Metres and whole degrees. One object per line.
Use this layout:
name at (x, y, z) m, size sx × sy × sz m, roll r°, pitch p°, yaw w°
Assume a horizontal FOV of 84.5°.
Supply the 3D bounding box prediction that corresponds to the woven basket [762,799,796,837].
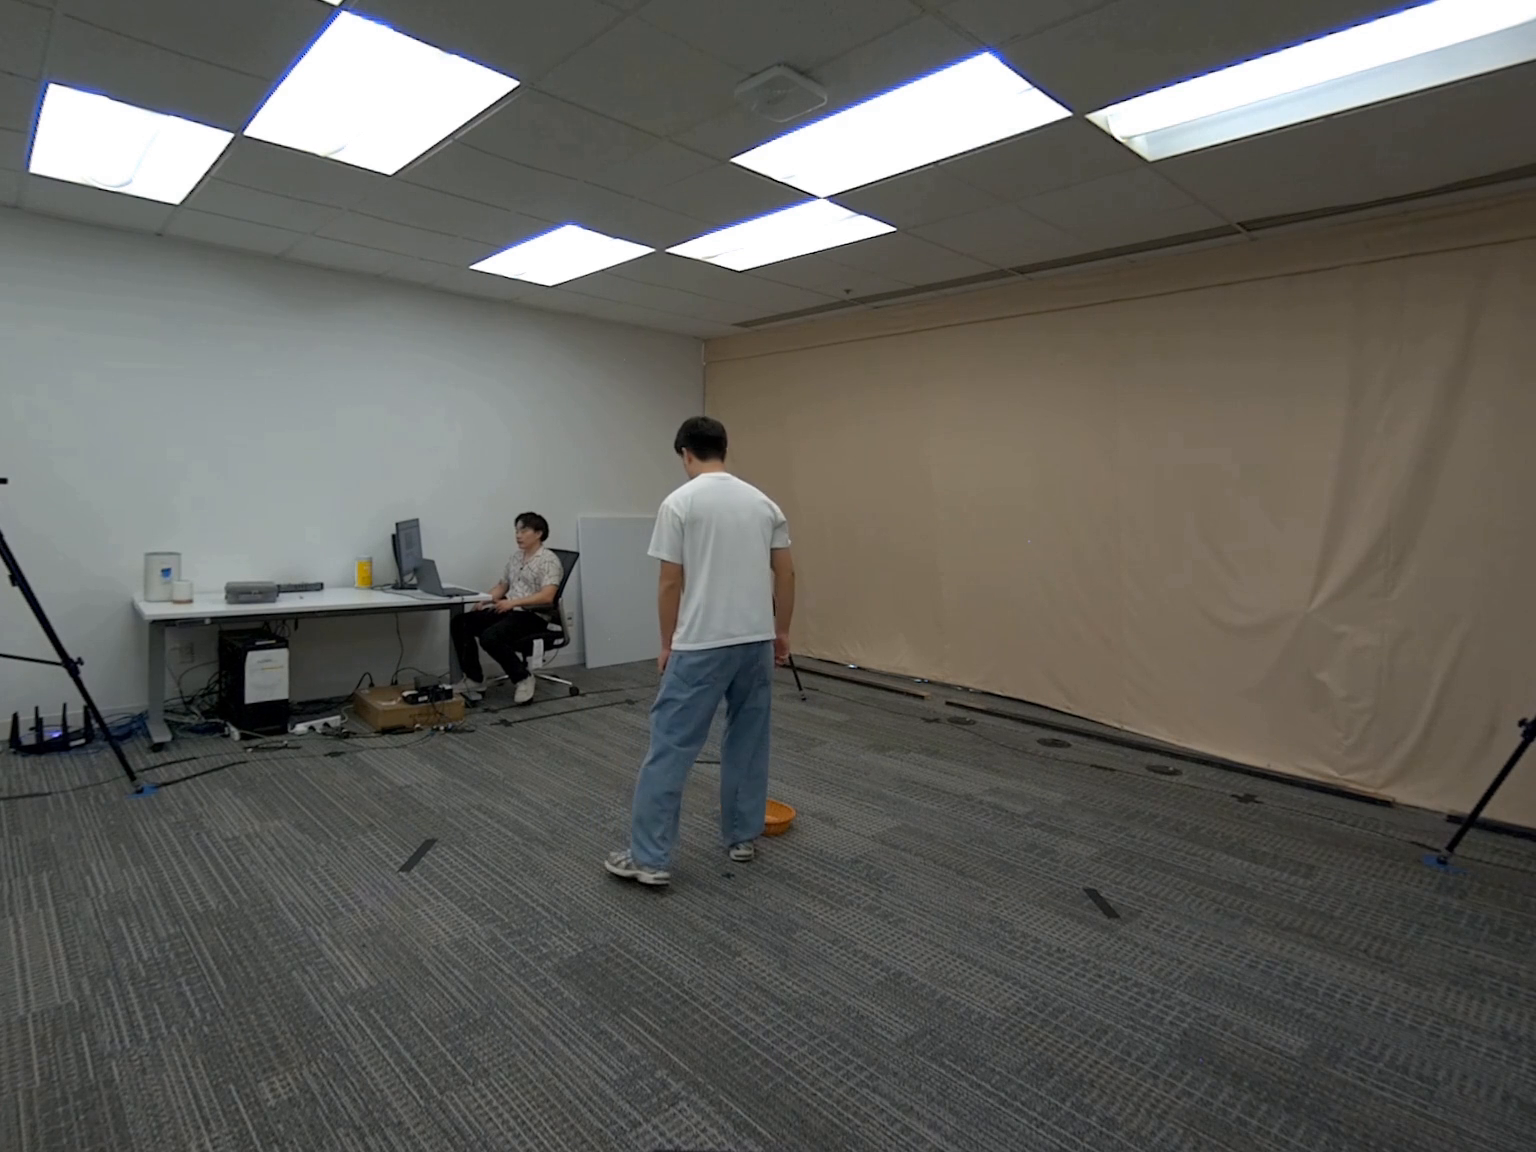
woven basket at (-0.060, 1.028, 3.608) m, size 0.359 × 0.073 × 0.247 m, roll 5°, pitch 6°, yaw 39°
